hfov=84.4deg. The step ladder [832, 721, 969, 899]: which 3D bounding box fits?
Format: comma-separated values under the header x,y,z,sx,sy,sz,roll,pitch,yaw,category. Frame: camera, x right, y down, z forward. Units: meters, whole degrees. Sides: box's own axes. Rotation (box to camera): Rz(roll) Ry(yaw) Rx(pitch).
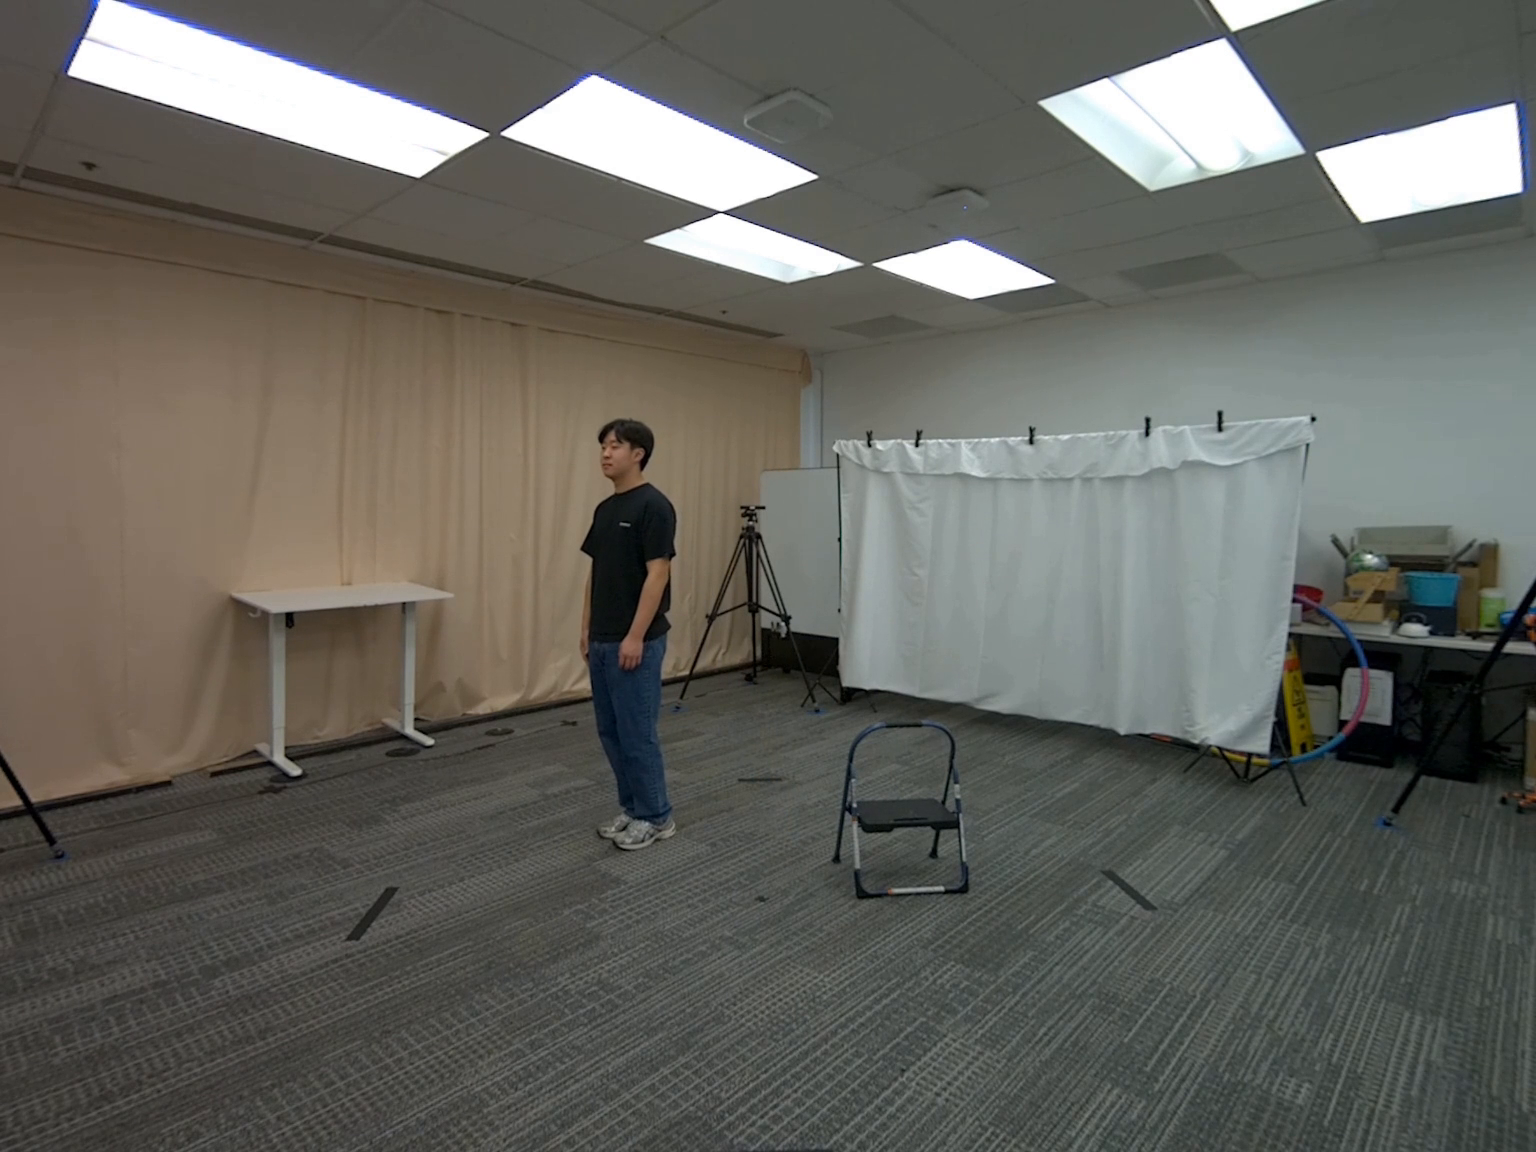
x,y,z,sx,sy,sz,roll,pitch,yaw,category
0.494,0.829,3.150,0.427,0.605,0.353,-1,3,-9,step ladder
